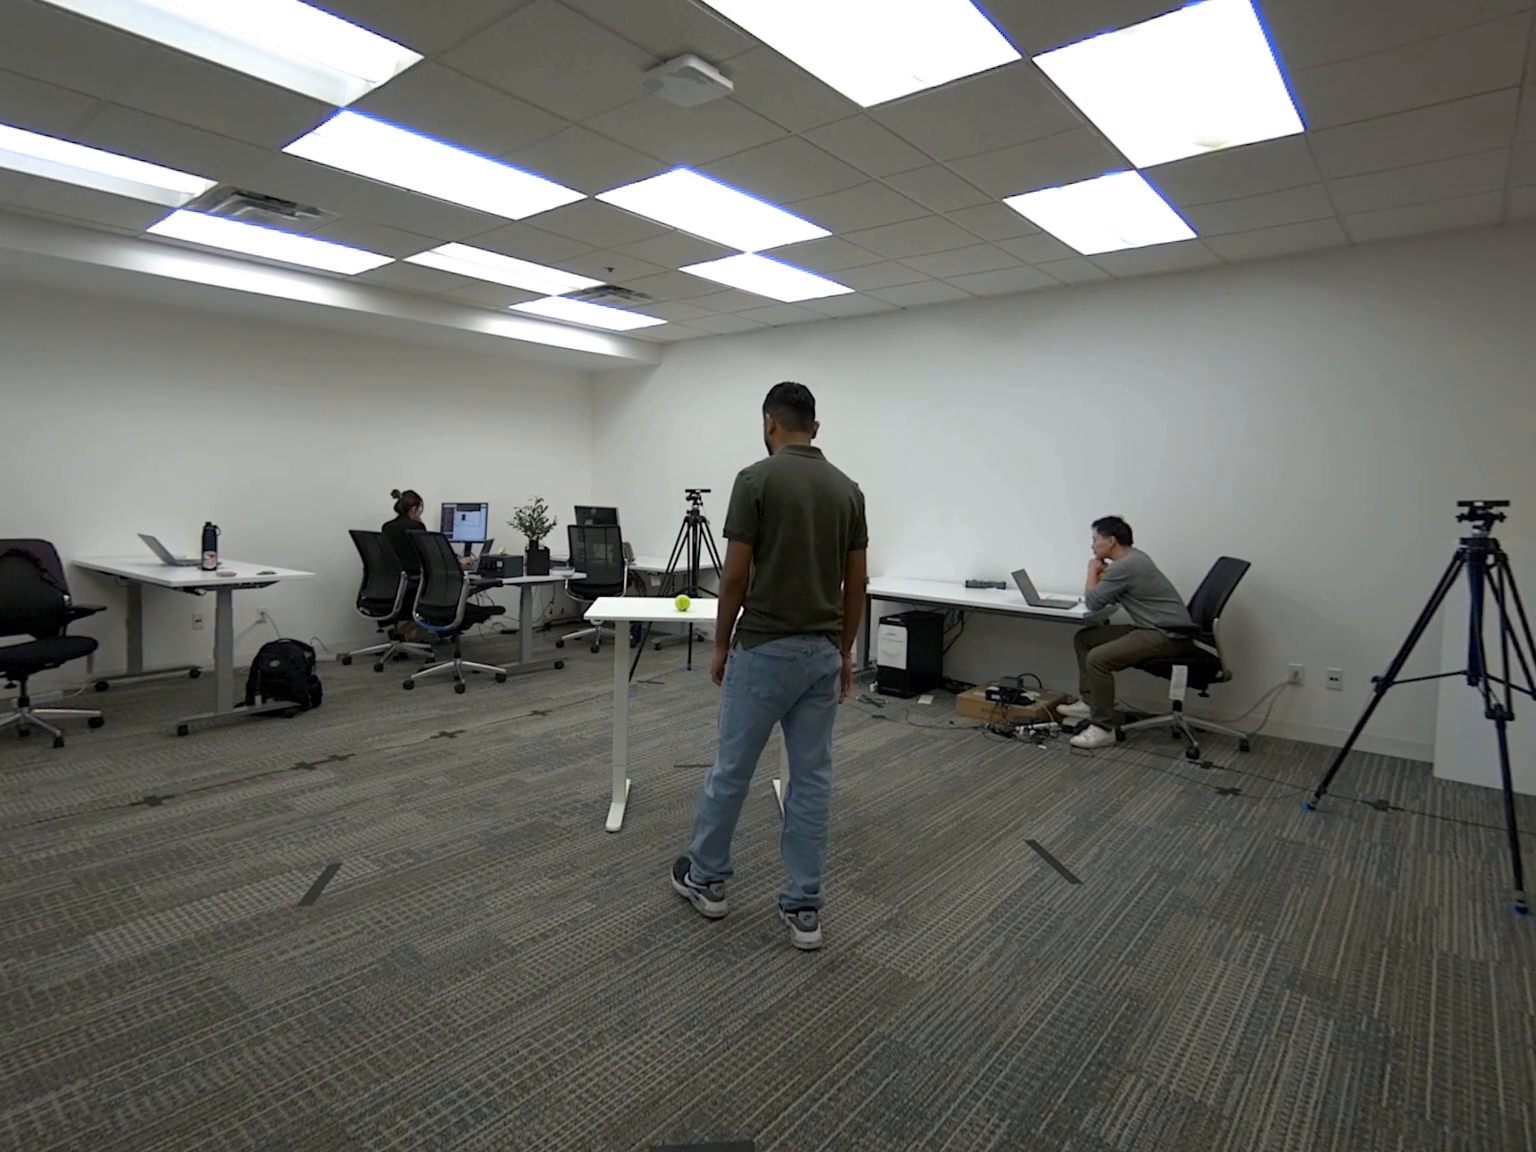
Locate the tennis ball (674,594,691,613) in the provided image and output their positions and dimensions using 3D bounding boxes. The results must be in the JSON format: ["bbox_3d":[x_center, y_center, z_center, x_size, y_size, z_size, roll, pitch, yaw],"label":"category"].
[{"bbox_3d":[-0.374,0.107,3.584,0.066,0.066,0.067,1,4,-2],"label":"tennis ball"}]
